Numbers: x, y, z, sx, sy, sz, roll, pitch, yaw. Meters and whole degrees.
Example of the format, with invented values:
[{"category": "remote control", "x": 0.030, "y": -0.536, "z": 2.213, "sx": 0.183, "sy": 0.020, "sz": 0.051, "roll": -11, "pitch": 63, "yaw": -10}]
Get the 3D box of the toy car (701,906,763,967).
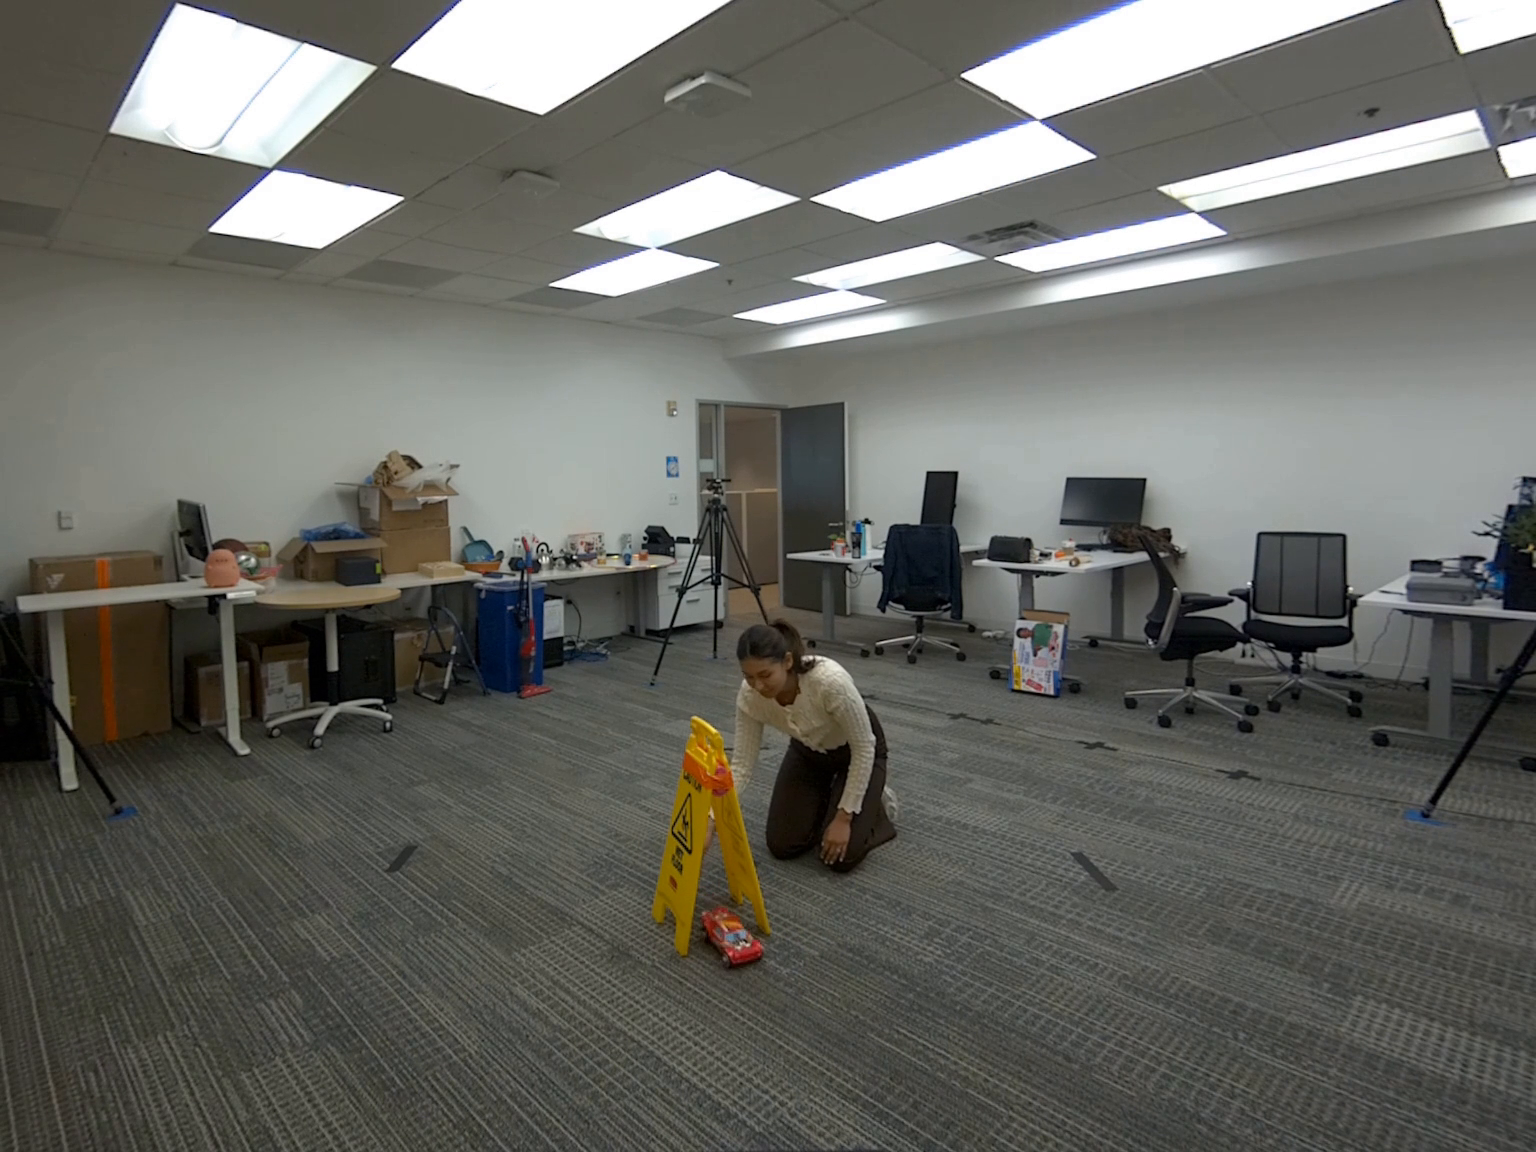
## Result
[{"category": "toy car", "x": -0.131, "y": 1.077, "z": 2.570, "sx": 0.128, "sy": 0.082, "sz": 0.263, "roll": -5, "pitch": 18, "yaw": -23}]
